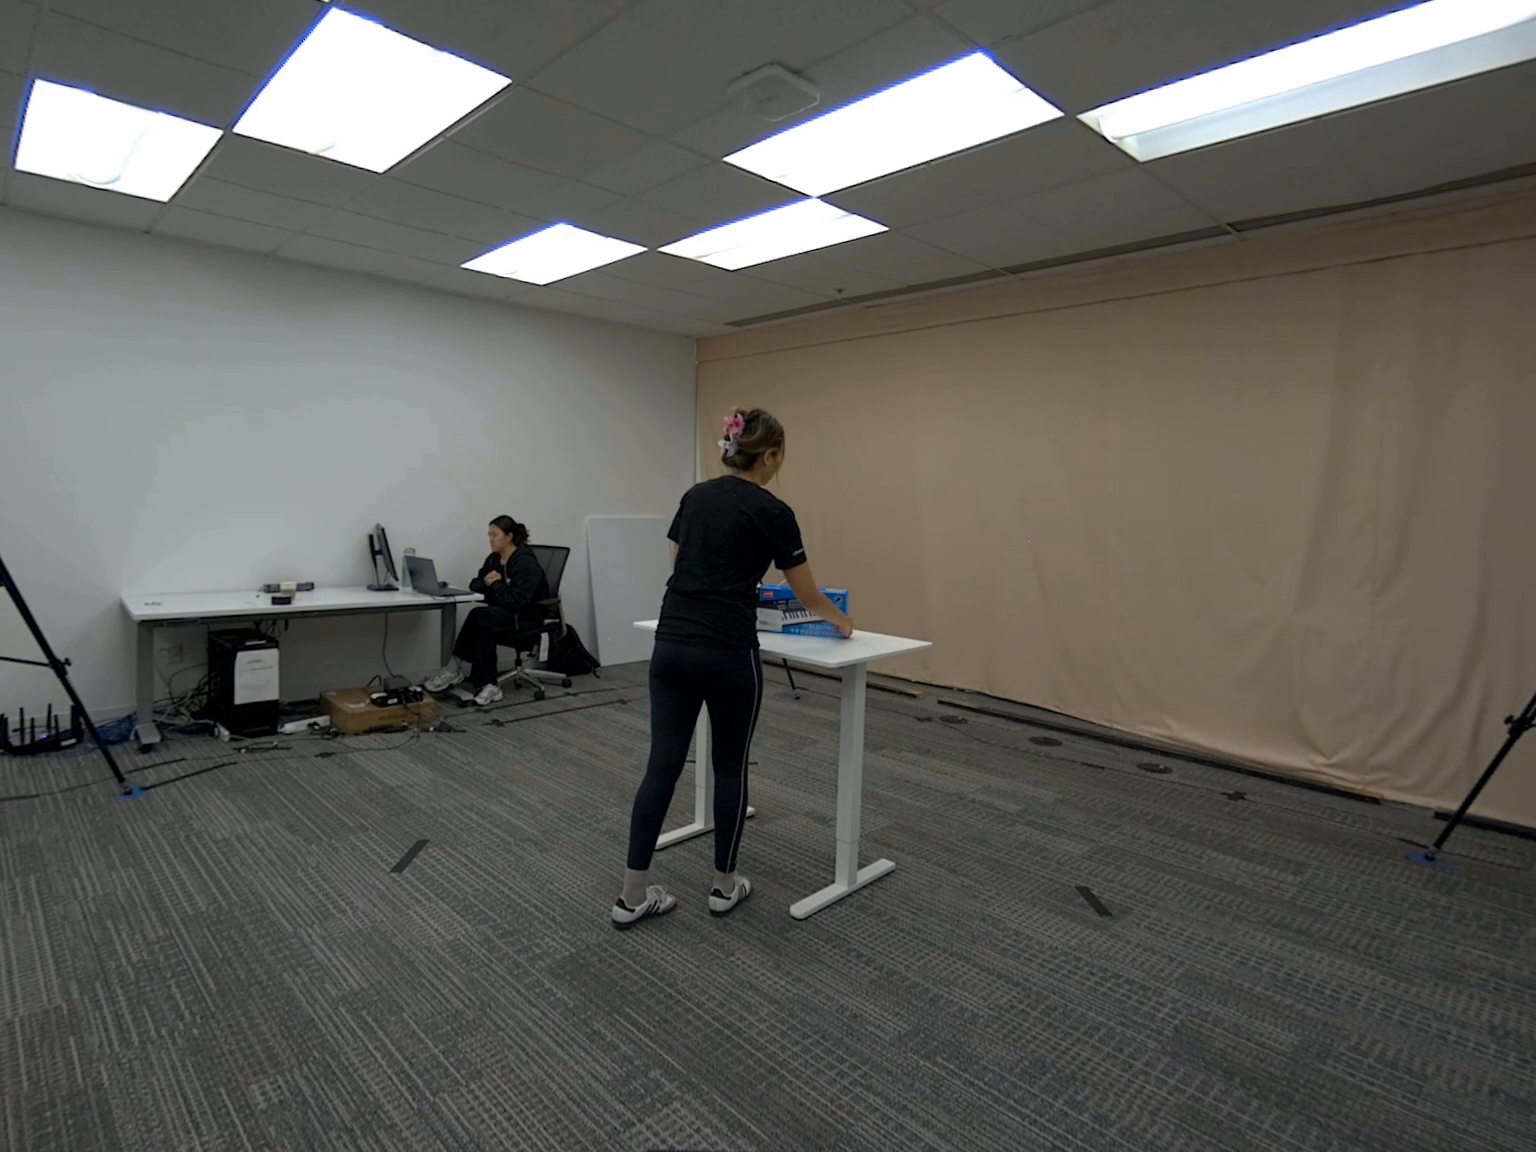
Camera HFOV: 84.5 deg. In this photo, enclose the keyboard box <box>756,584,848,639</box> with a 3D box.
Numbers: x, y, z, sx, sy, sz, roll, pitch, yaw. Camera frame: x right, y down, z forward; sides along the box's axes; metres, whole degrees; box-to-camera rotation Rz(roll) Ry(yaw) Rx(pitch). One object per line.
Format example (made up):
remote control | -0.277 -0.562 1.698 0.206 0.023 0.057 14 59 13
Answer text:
keyboard box | 0.077 0.133 3.181 0.444 0.174 0.058 4 11 19
